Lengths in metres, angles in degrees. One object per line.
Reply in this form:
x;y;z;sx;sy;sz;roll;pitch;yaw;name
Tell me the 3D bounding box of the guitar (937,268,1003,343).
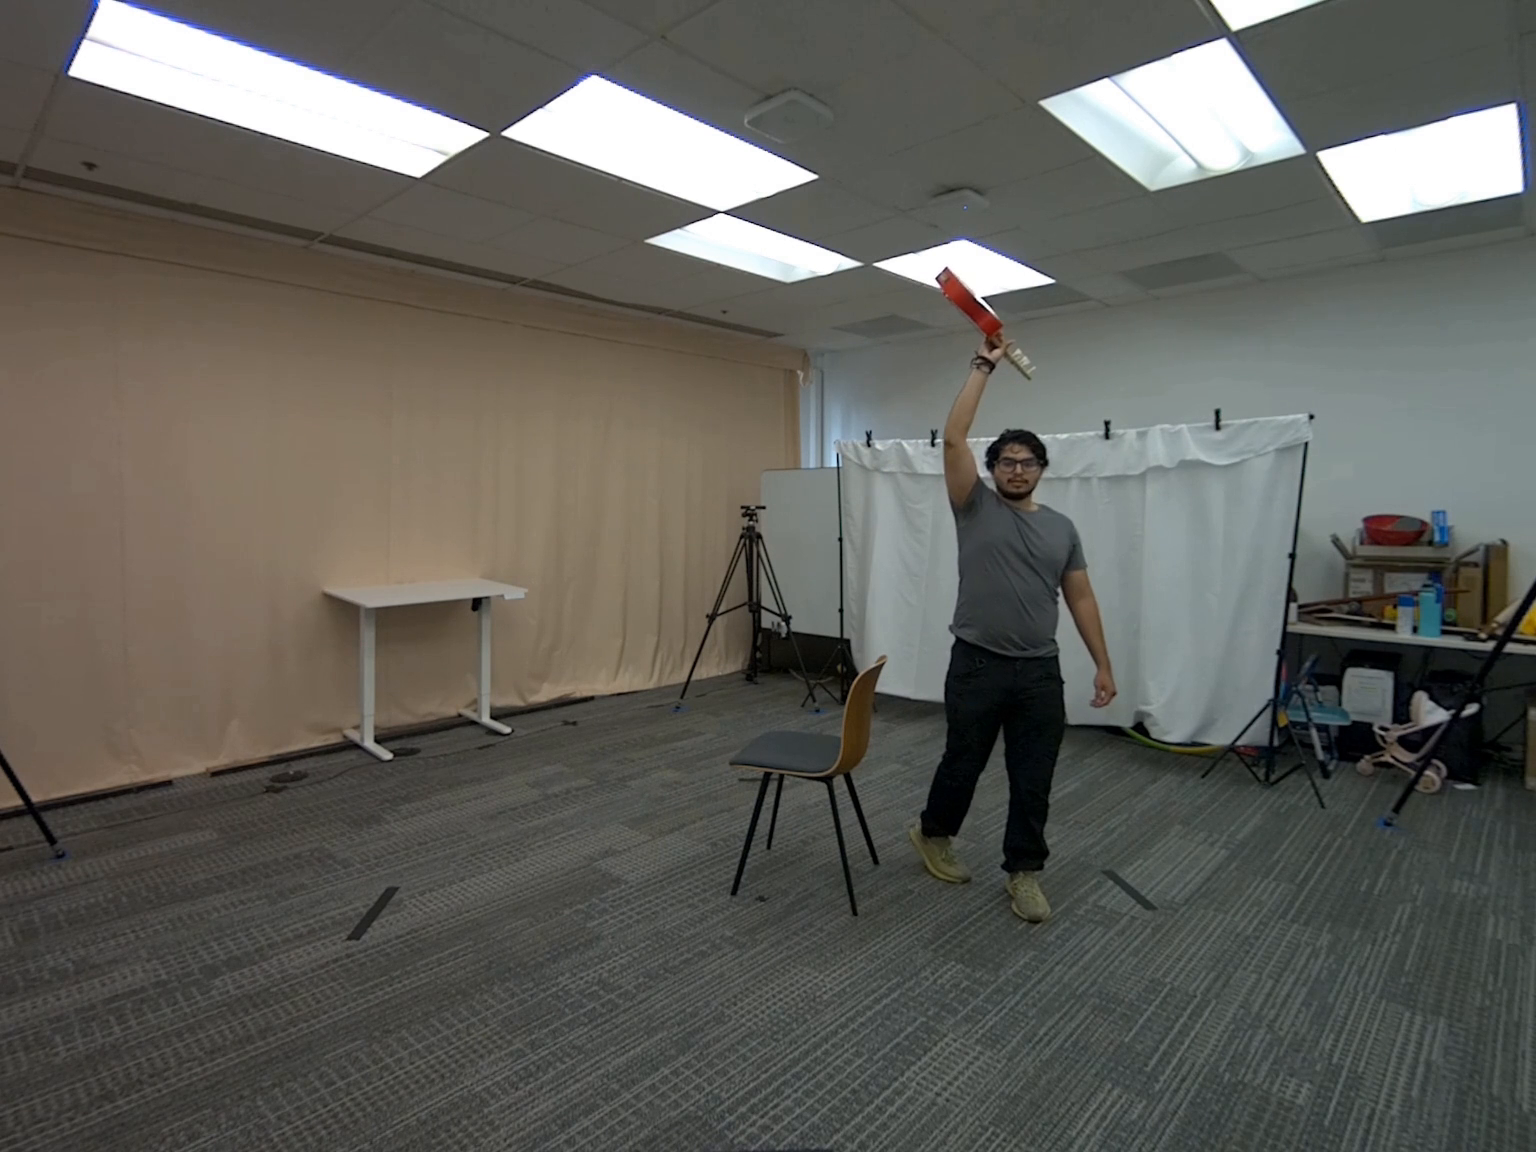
0.735;-0.841;2.798;0.482;0.071;0.198;31;29;-32;guitar
